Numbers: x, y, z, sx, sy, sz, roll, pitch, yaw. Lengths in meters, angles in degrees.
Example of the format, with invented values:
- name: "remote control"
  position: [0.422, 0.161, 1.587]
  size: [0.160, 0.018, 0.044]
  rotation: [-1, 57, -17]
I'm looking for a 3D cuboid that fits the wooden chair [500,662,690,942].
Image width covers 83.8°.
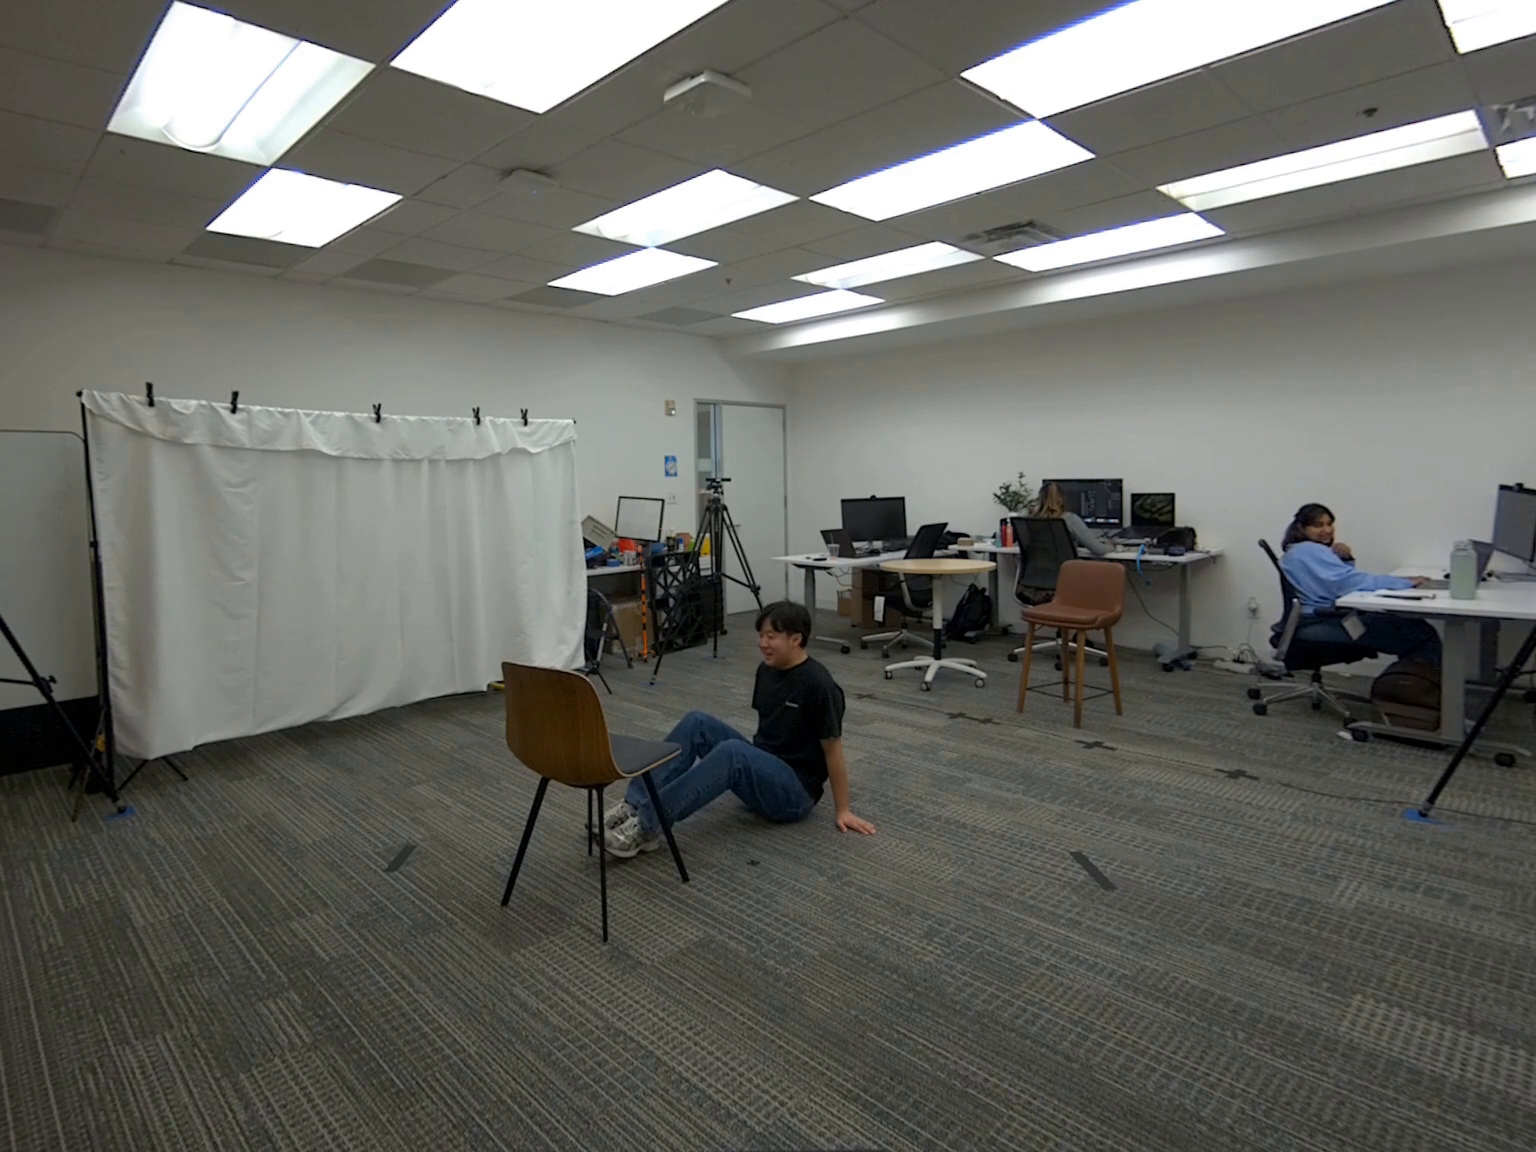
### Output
- name: "wooden chair"
  position: [-0.578, 0.652, 2.869]
  size: [0.491, 0.871, 0.513]
  rotation: [2, 9, 31]
